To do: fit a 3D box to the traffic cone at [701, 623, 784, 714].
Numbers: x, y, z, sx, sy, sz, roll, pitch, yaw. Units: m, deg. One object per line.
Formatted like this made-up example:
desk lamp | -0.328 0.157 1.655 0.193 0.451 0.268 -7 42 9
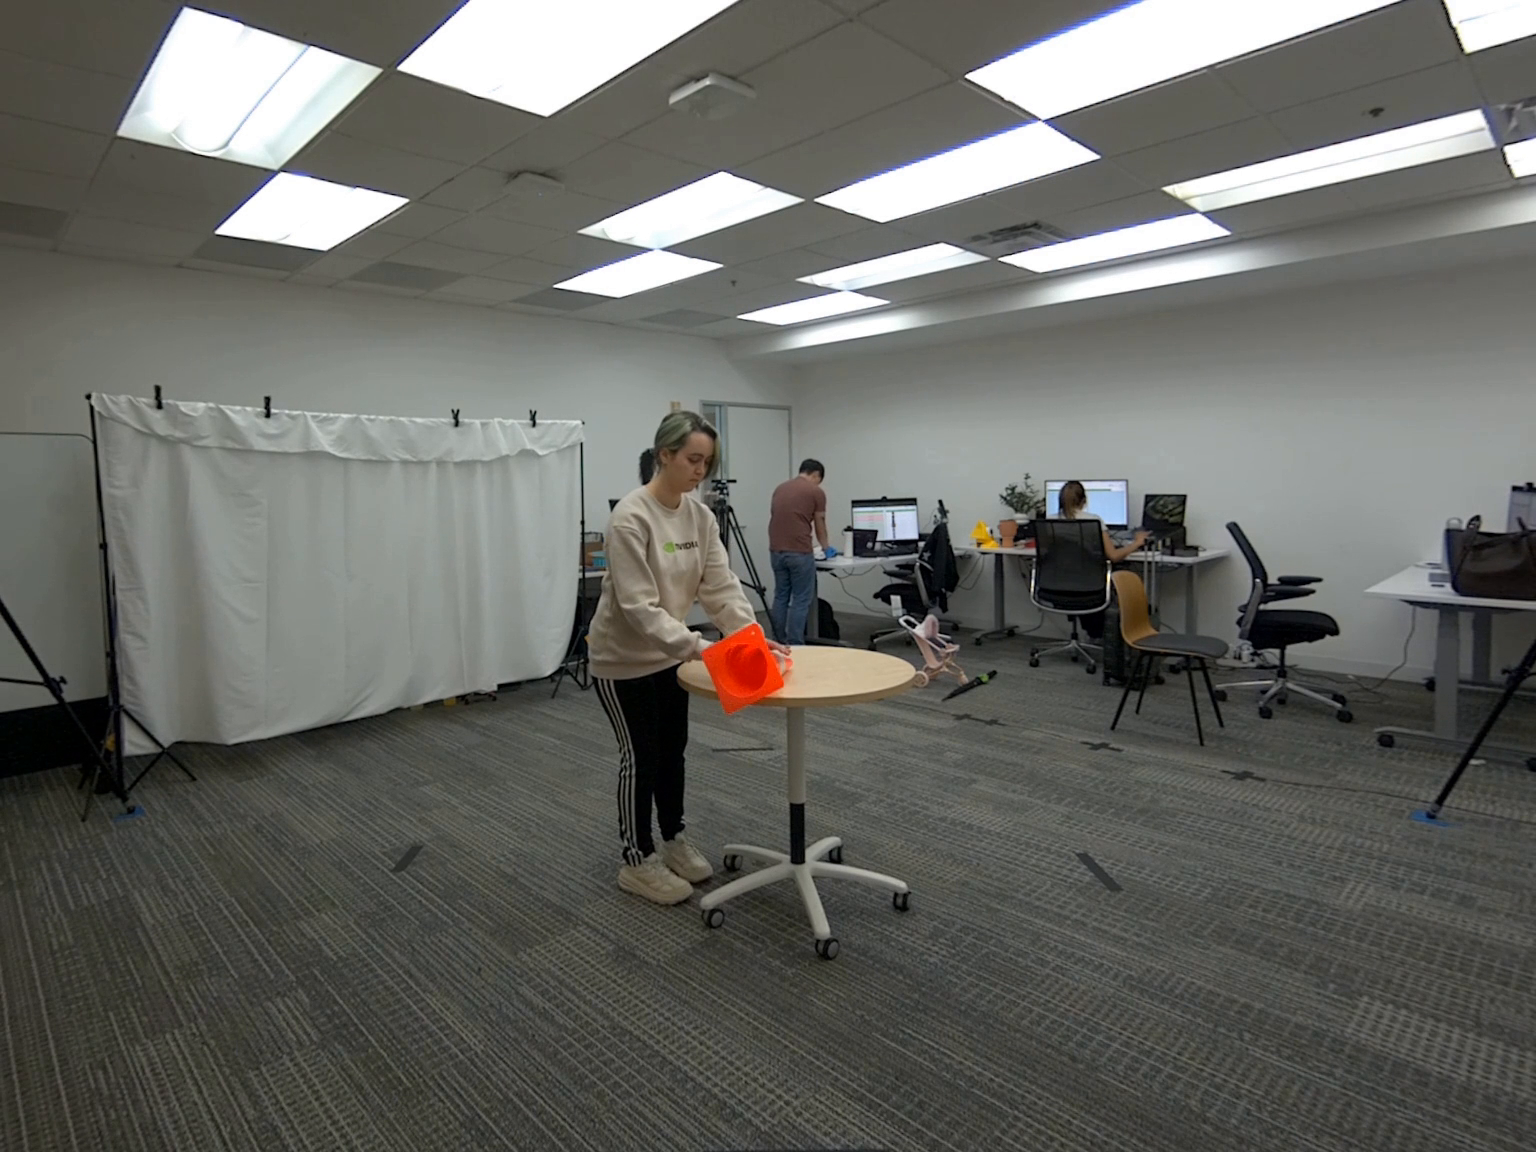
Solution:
traffic cone | 0.000 0.269 2.585 0.206 0.207 0.374 -34 -15 18
